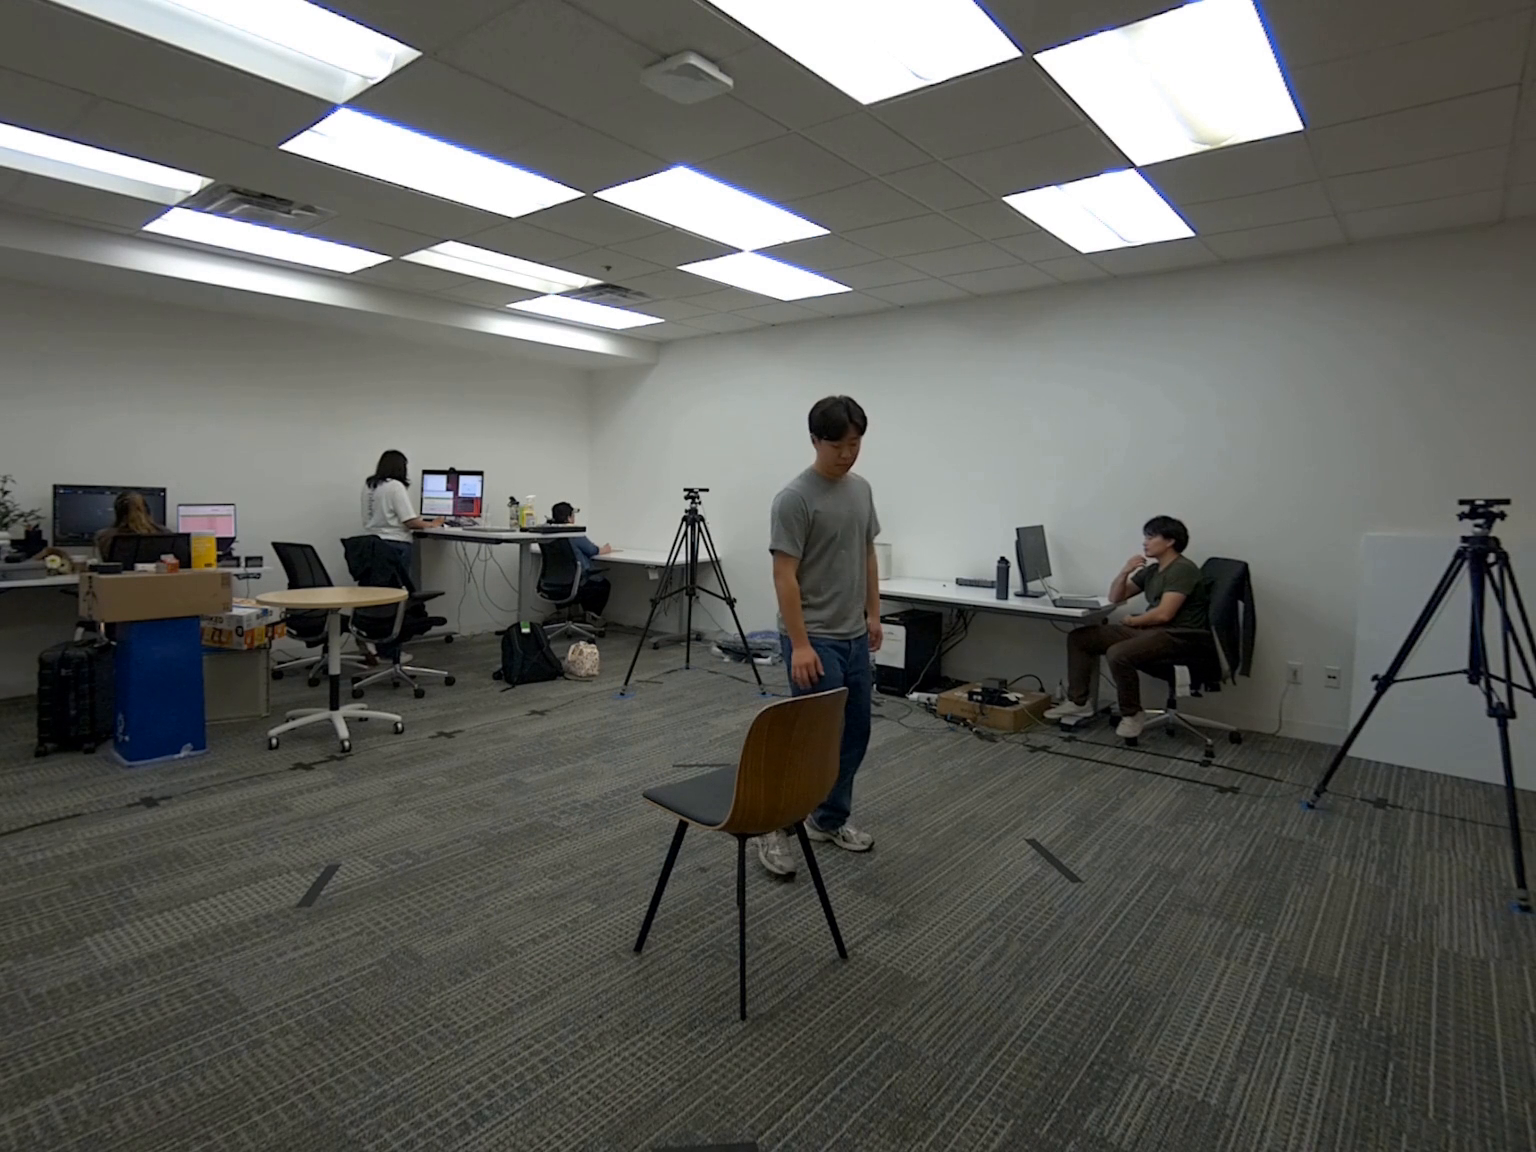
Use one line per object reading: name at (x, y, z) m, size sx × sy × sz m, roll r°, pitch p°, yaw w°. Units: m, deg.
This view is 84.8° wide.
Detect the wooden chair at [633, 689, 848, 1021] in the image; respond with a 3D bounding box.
wooden chair at (-0.090, 0.703, 2.518) m, size 0.542 × 0.872 × 0.463 m, roll 11°, pitch 9°, yaw 43°
